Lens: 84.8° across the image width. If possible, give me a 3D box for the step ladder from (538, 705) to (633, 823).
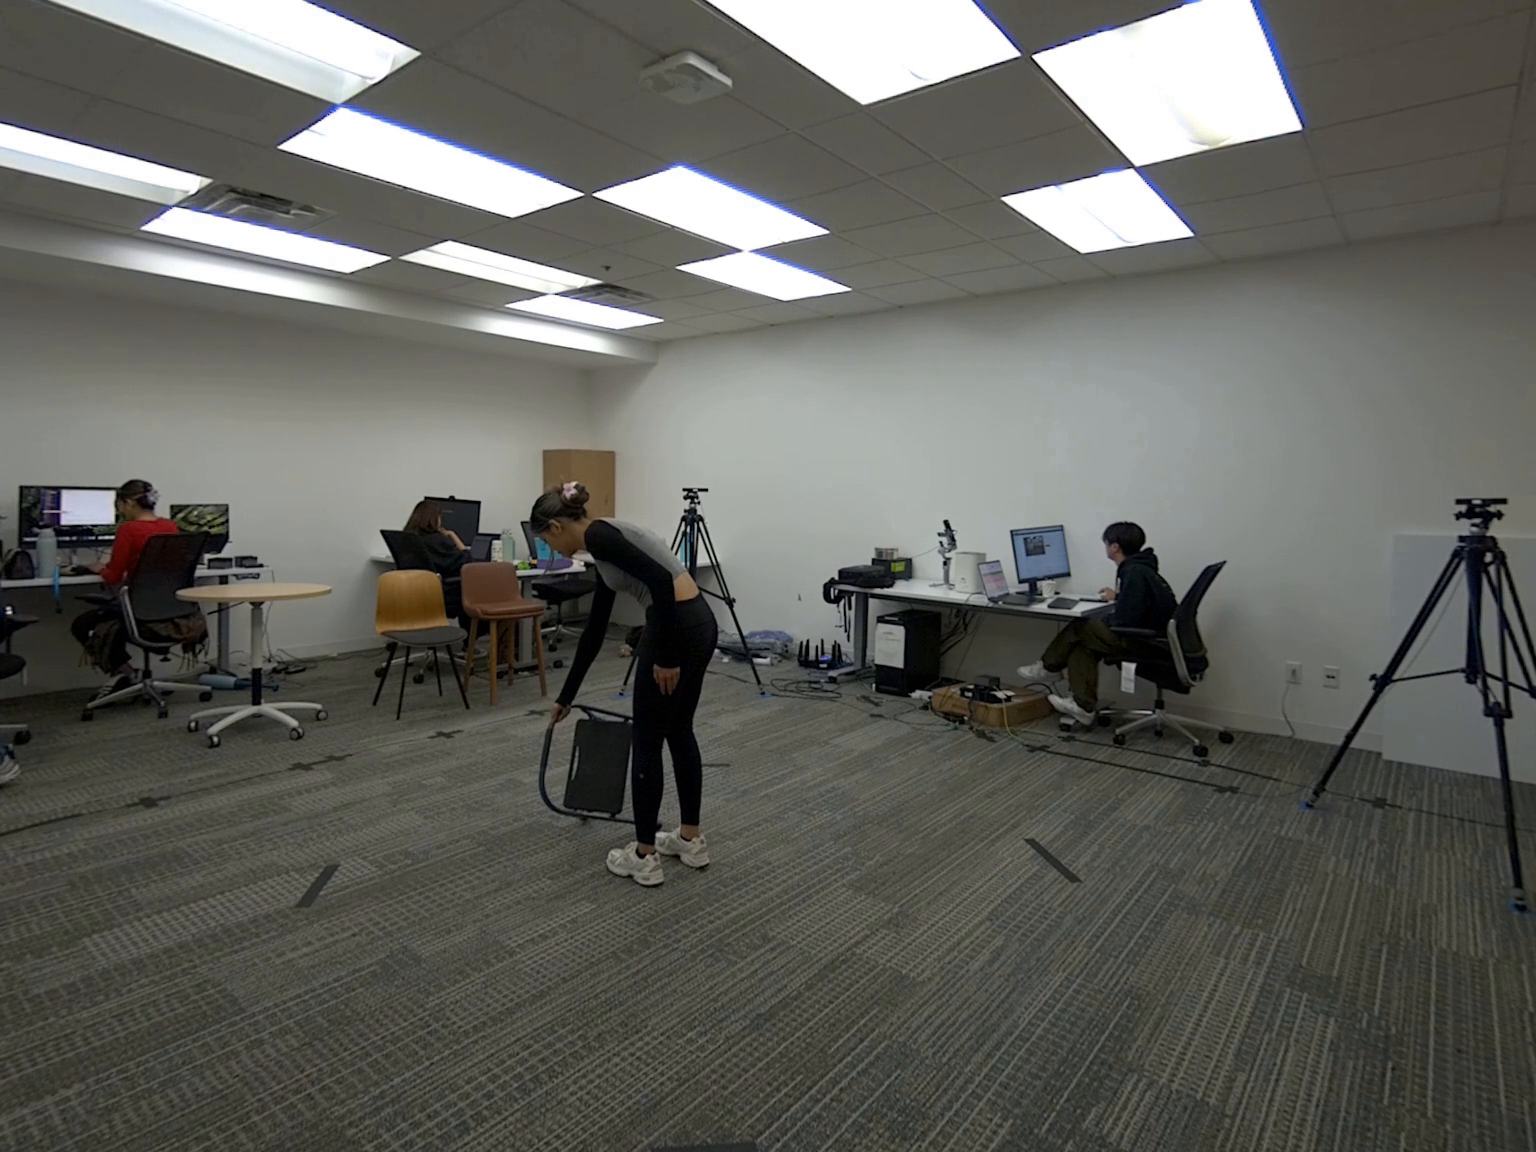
[{"bbox_3d":[-0.667,0.728,3.325,0.355,0.437,0.586,-1,-18,16],"label":"step ladder"}]
